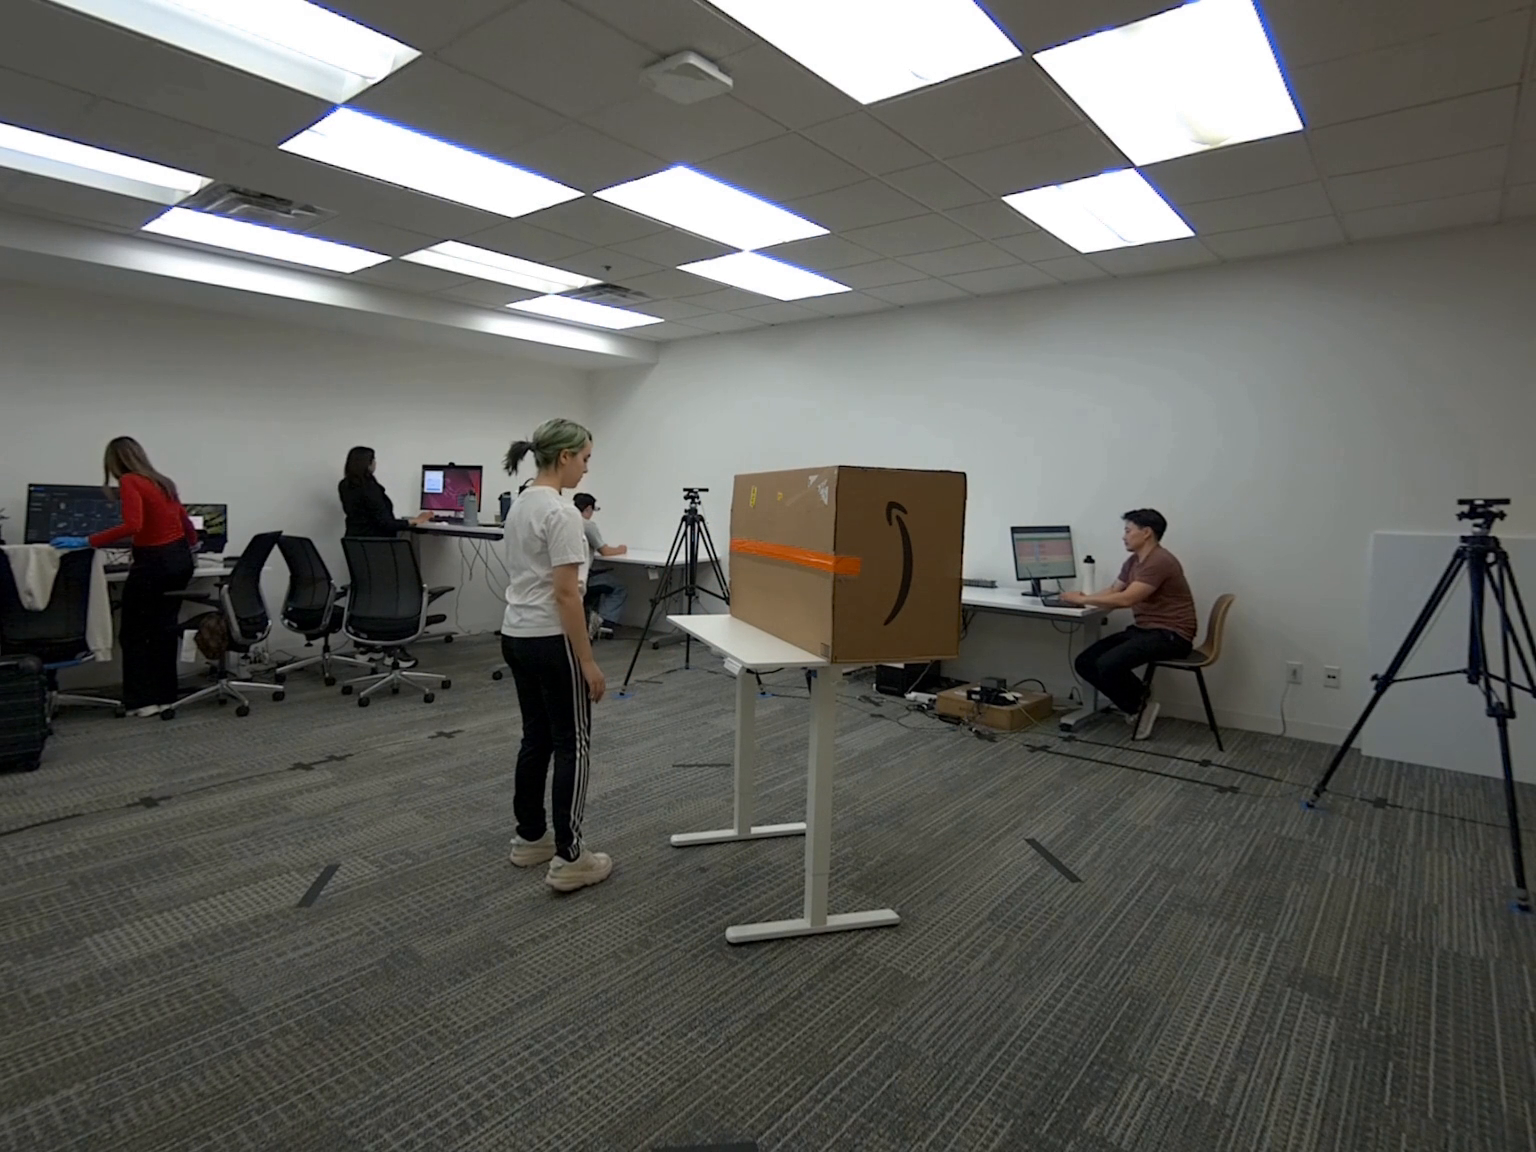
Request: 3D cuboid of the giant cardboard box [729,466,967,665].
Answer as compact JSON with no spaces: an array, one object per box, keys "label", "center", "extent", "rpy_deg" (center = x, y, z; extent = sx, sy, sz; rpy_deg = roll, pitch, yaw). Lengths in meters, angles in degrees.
[{"label":"giant cardboard box","center":[0.219,-0.085,3.006],"extent":[0.439,0.582,1.048],"rpy_deg":[0,4,-18]}]
